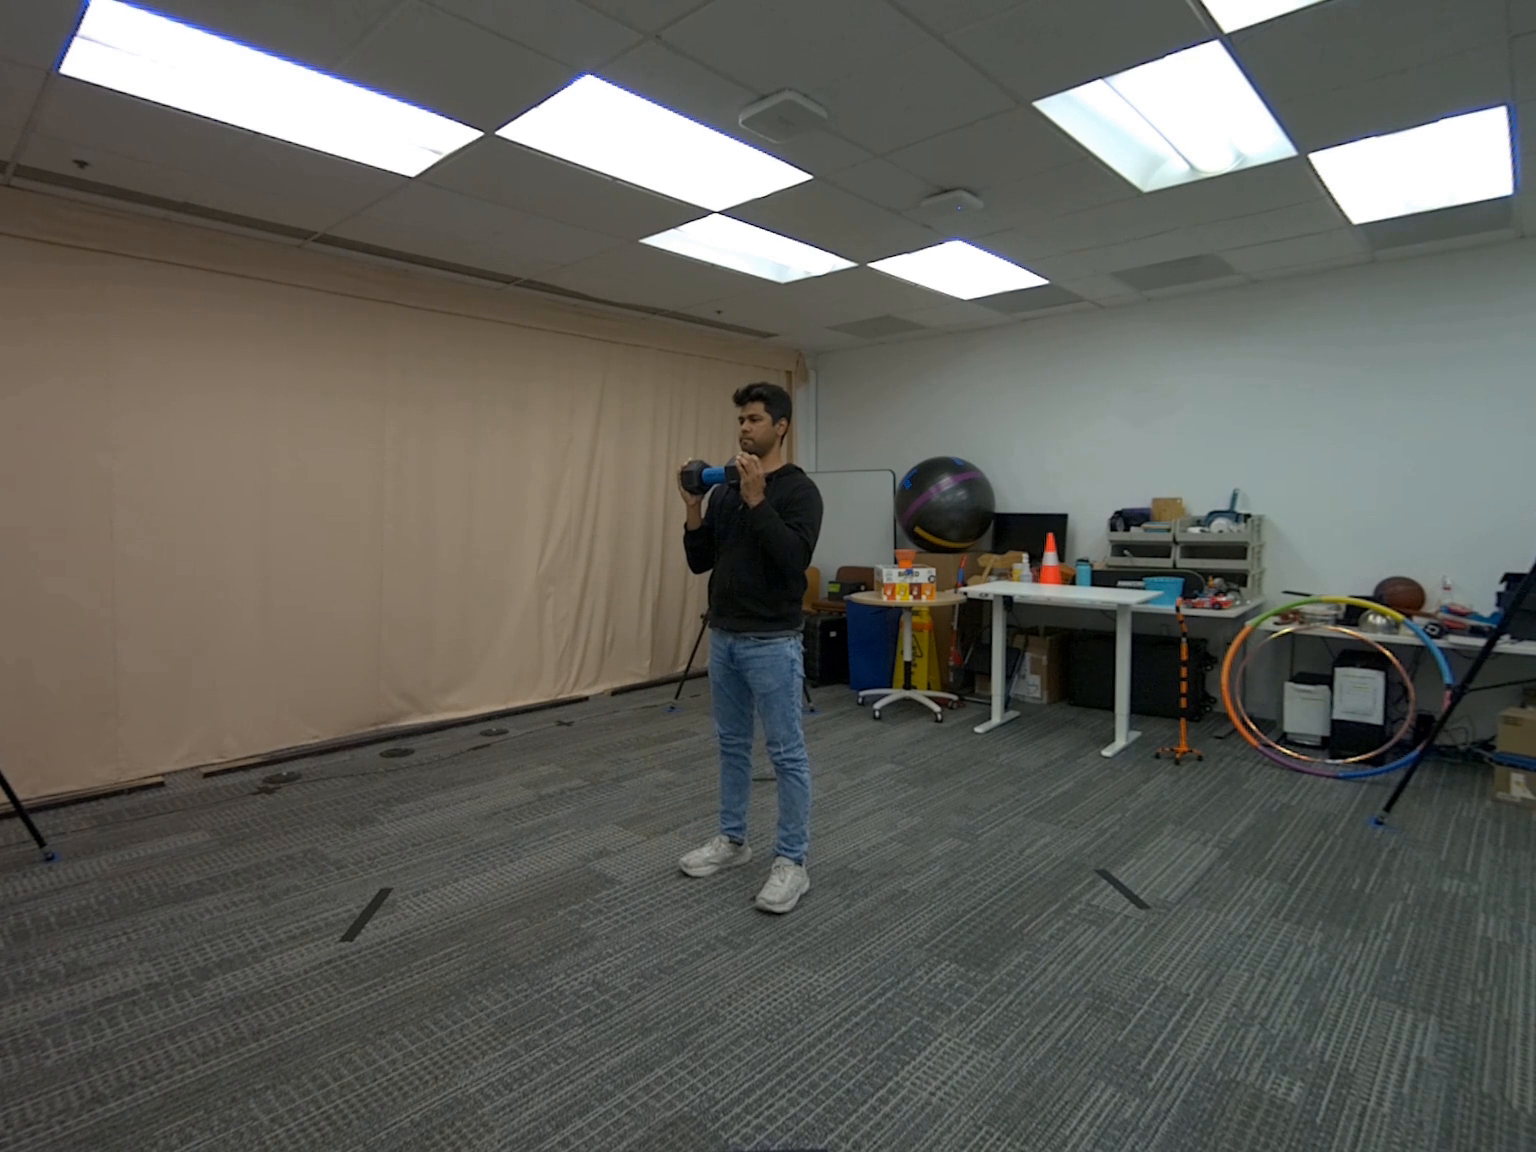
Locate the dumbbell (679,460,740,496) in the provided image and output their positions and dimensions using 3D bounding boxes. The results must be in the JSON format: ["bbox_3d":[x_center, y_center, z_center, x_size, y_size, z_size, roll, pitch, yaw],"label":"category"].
[{"bbox_3d":[-0.154,-0.347,2.930,0.106,0.122,0.303,-13,8,-44],"label":"dumbbell"}]
